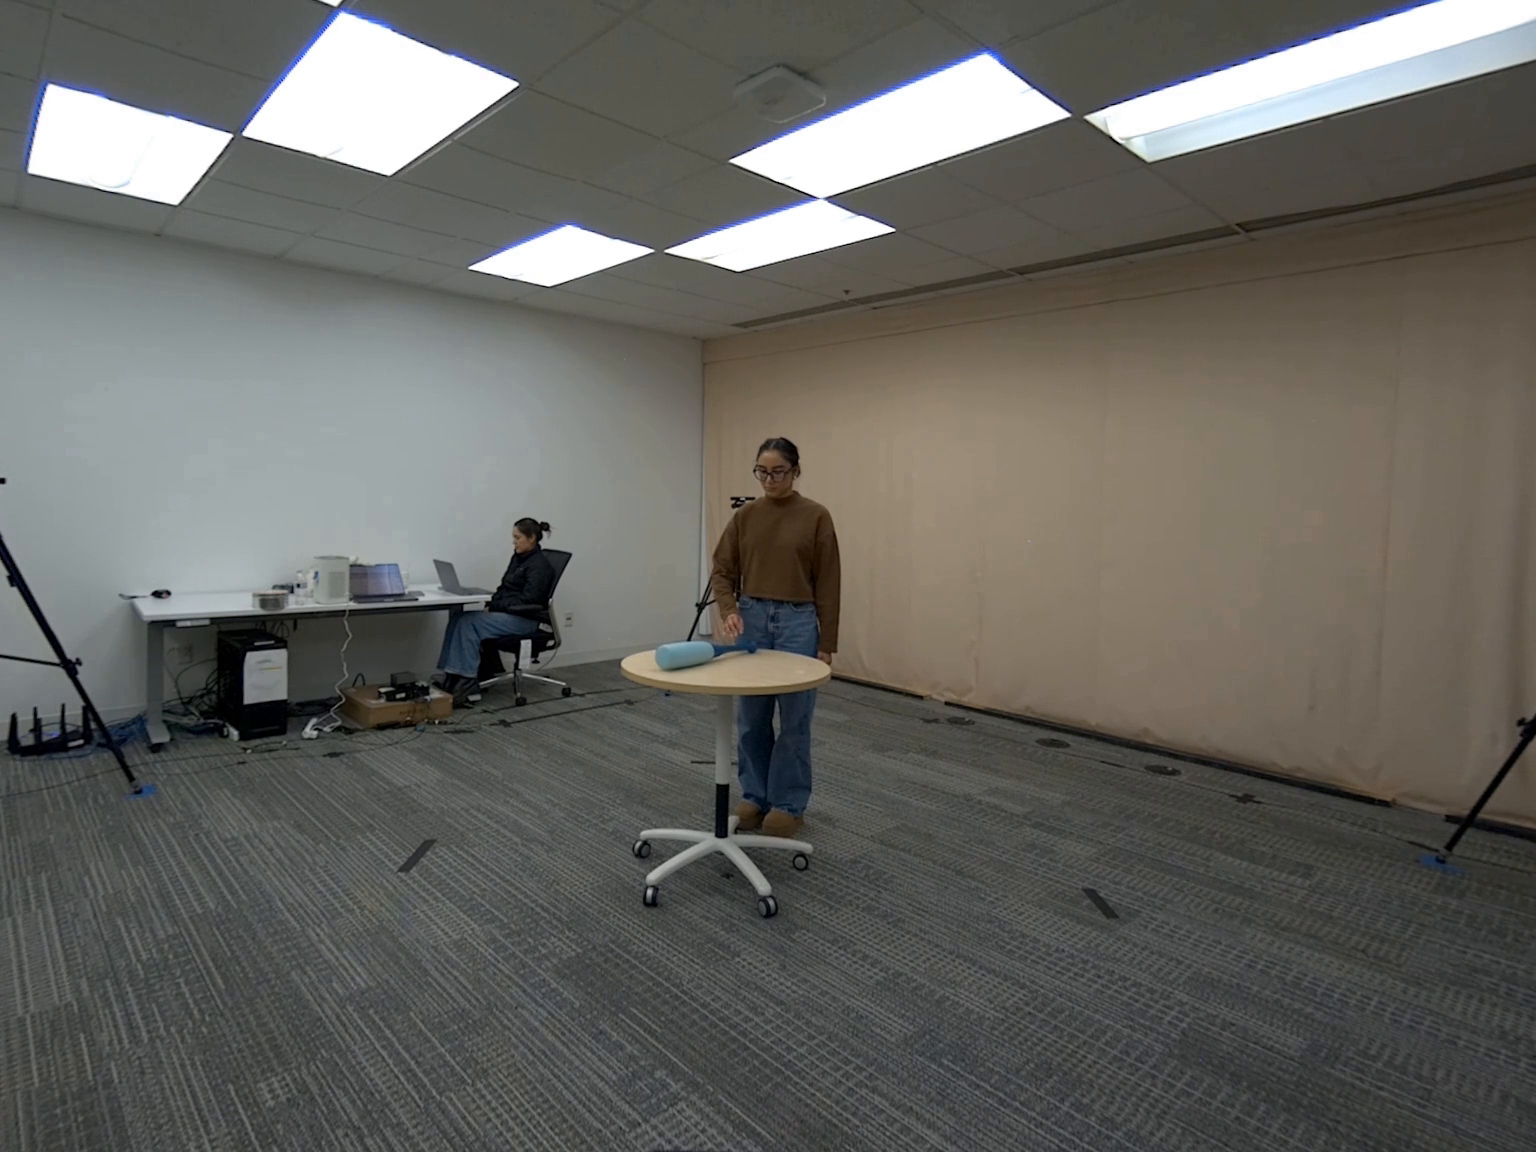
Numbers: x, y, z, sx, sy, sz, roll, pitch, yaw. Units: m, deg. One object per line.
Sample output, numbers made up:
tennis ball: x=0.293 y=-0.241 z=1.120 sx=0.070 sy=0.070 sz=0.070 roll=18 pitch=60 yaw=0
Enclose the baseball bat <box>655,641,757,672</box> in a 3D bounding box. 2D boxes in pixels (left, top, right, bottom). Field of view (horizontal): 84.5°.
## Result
baseball bat: x=-0.219 y=0.287 z=3.131 sx=0.091 sy=0.089 sz=0.530 roll=4 pitch=2 yaw=35
